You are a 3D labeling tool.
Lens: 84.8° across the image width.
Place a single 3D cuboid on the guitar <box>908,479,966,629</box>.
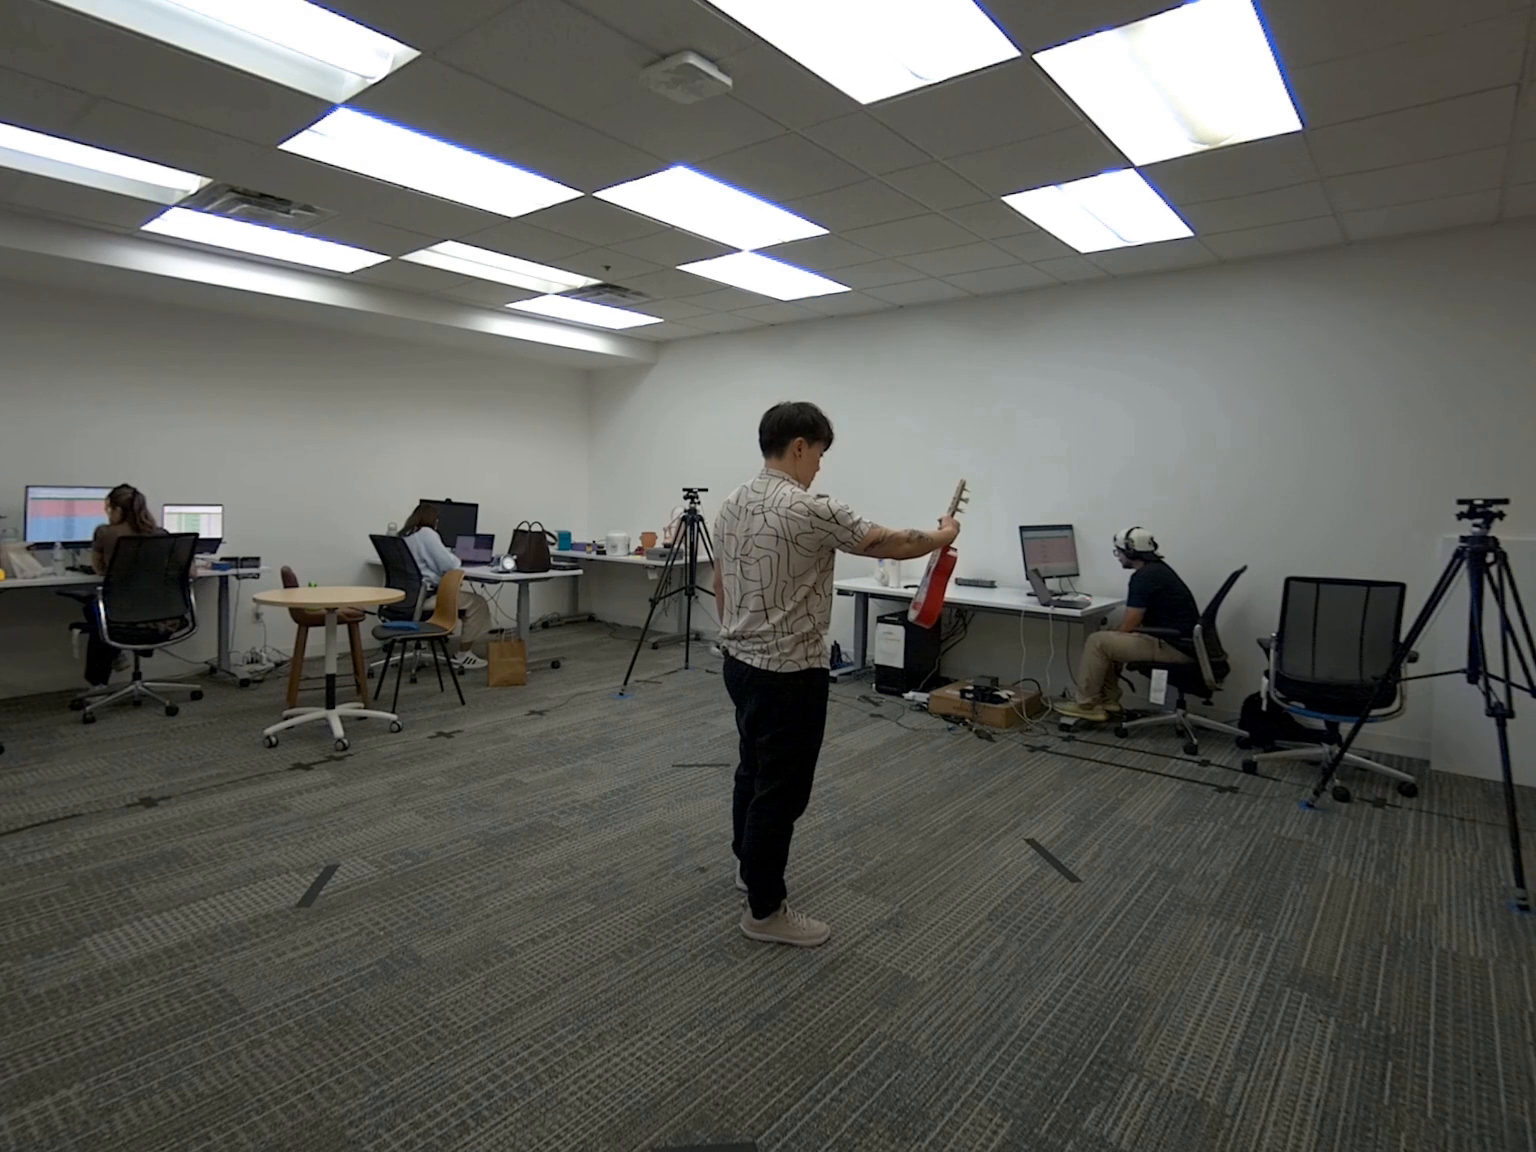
[{"bbox_3d":[0.573,-0.070,2.757,0.071,0.496,0.193,20,6,0],"label":"guitar"}]
